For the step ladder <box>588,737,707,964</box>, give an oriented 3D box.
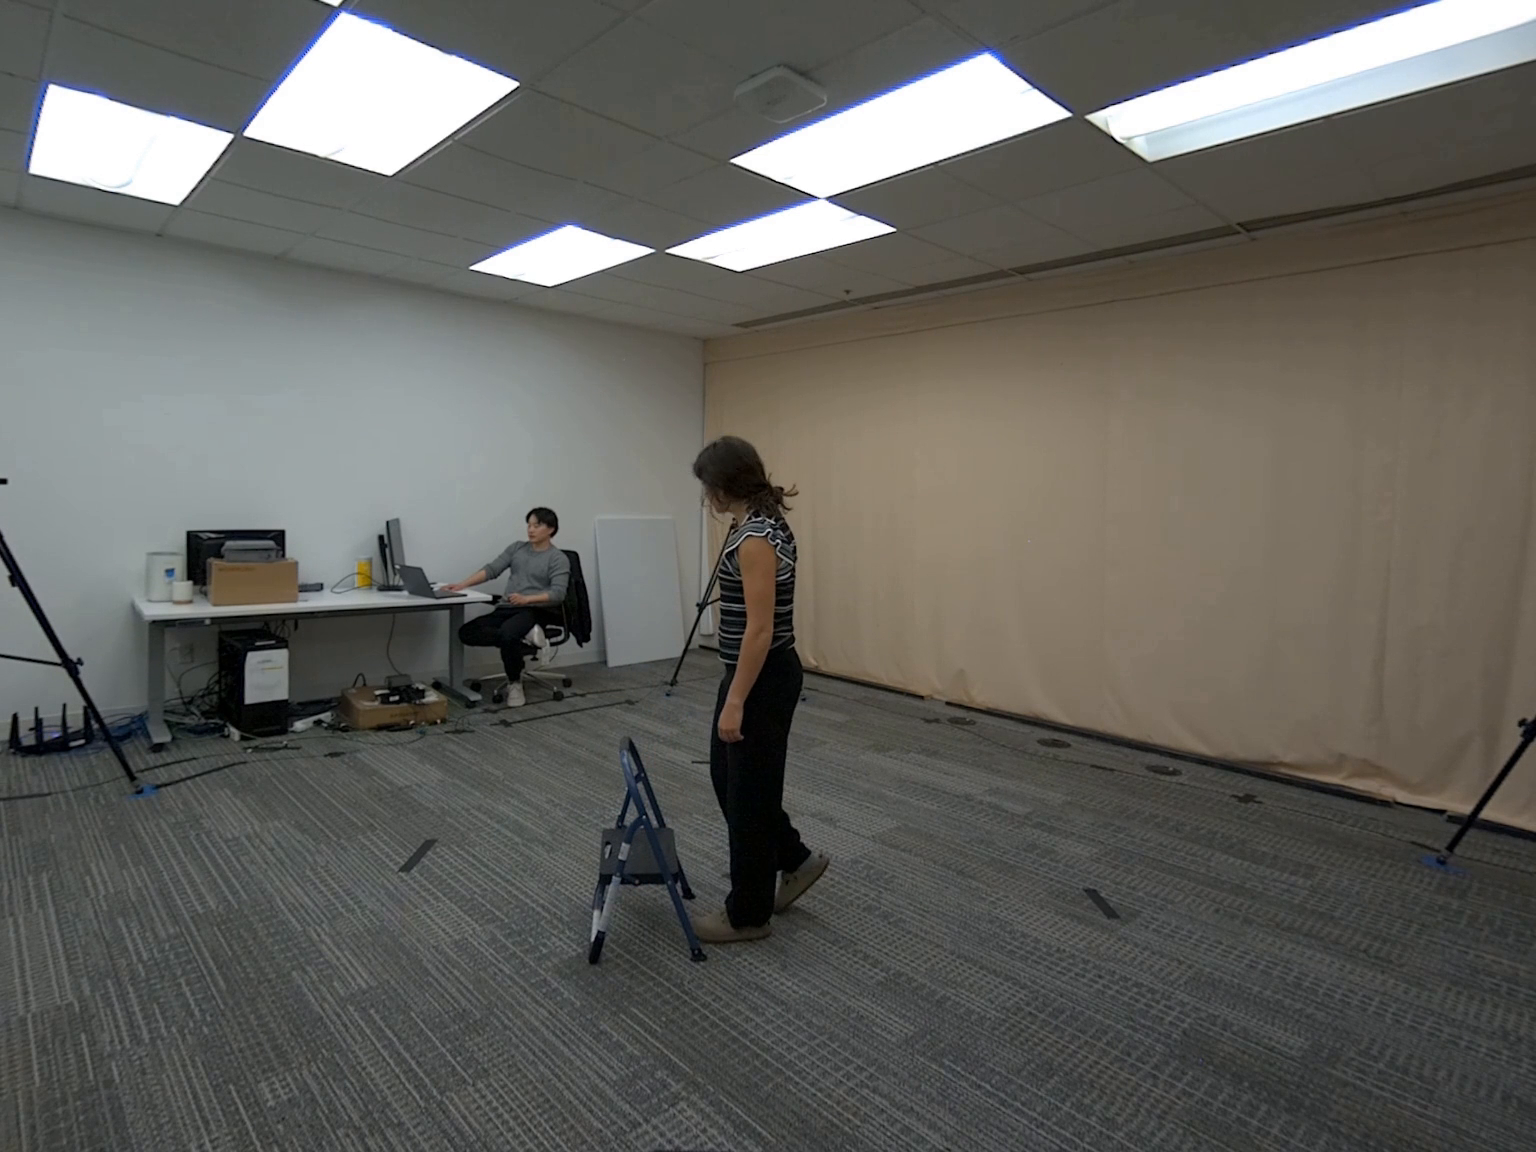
[{"bbox_3d":[-0.393,0.833,2.701,0.347,0.605,0.435,0,3,-9],"label":"step ladder"}]
